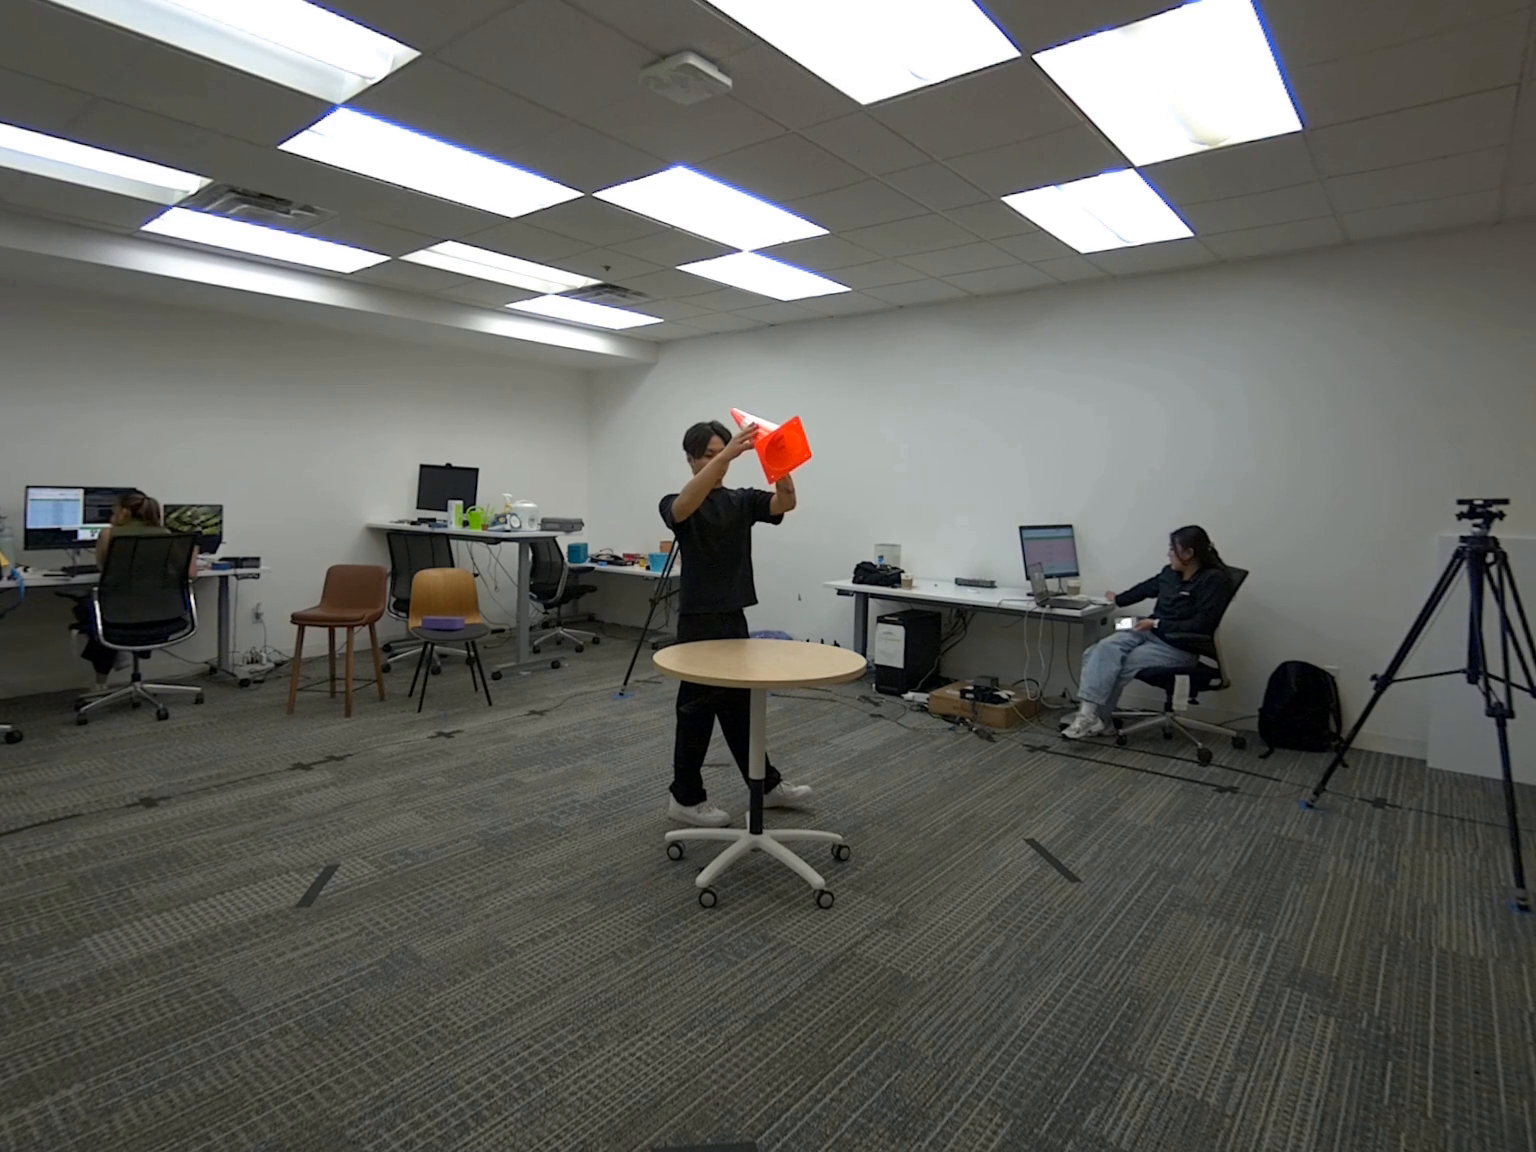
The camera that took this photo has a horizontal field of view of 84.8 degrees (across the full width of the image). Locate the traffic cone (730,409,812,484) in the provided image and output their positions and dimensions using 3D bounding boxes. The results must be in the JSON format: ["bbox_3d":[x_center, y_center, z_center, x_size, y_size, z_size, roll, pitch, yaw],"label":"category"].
[{"bbox_3d":[-0.039,-0.530,3.186,0.204,0.195,0.400,-32,43,-8],"label":"traffic cone"}]
